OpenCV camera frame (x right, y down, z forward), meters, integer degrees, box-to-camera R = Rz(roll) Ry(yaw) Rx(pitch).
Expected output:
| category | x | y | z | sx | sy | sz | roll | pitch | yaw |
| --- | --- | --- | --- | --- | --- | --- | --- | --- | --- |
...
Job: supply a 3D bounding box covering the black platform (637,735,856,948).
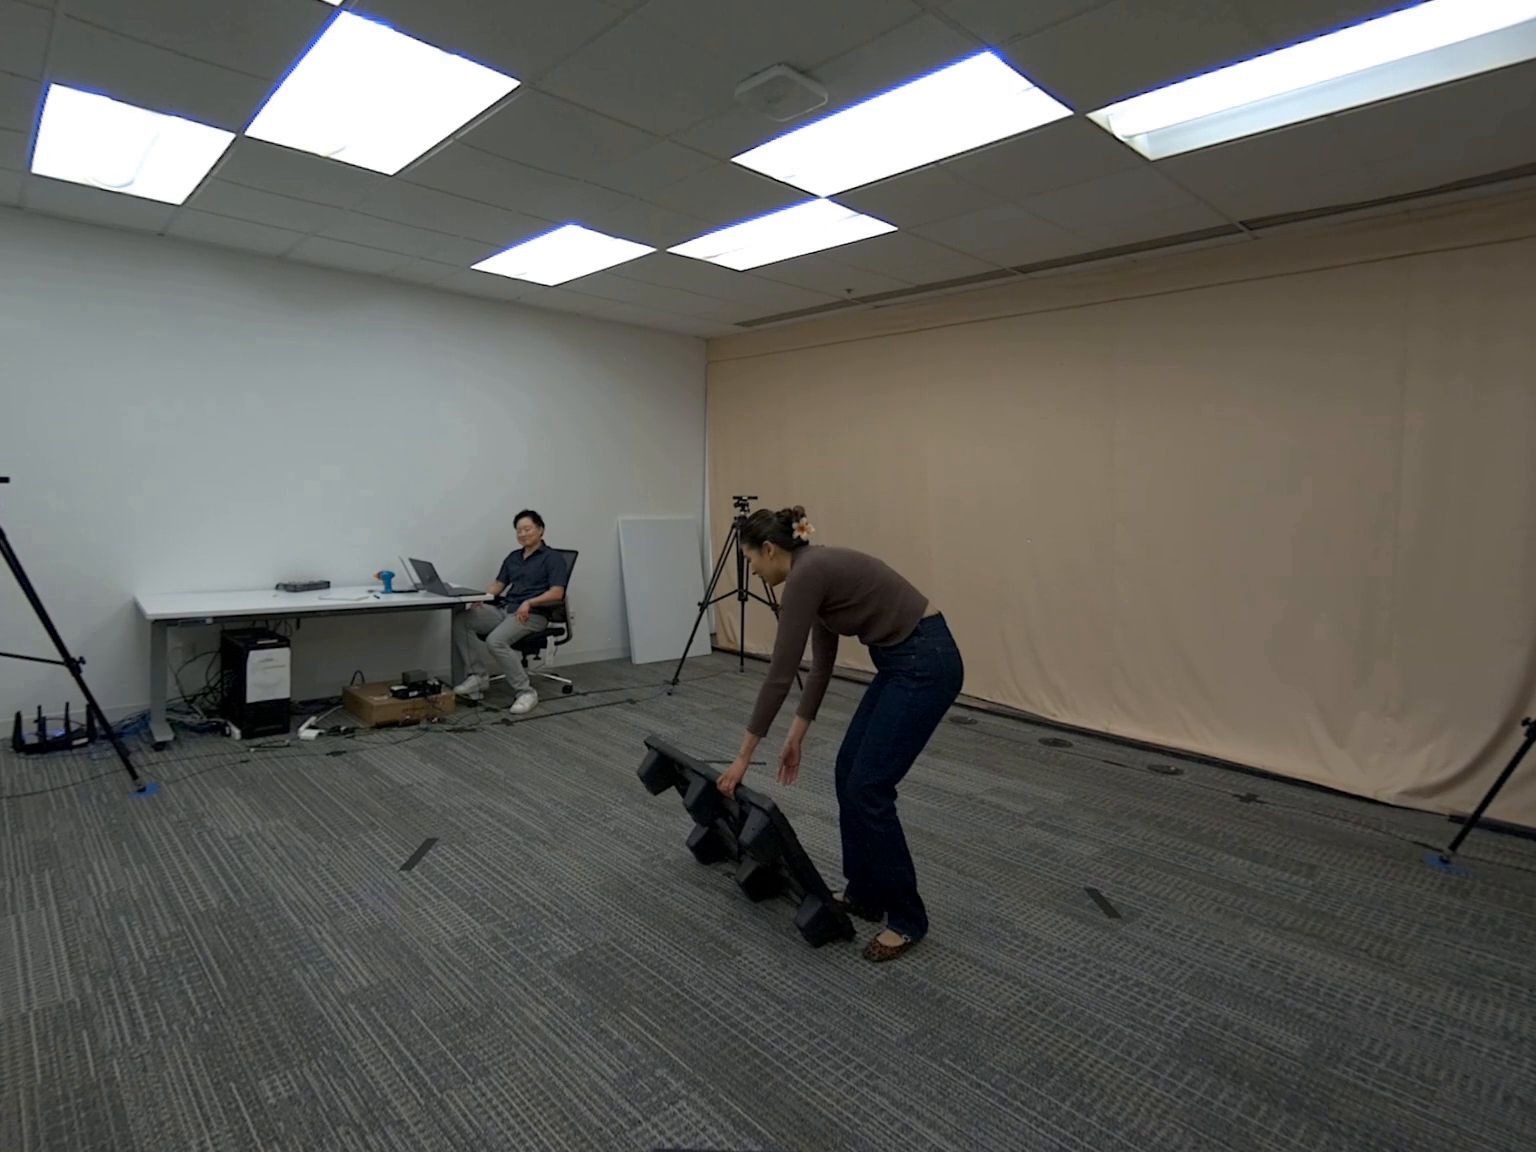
| category | x | y | z | sx | sy | sz | roll | pitch | yaw |
| --- | --- | --- | --- | --- | --- | --- | --- | --- | --- |
| black platform | -0.127 | 0.896 | 2.860 | 0.143 | 0.593 | 0.825 | -38 | 24 | -24 |
